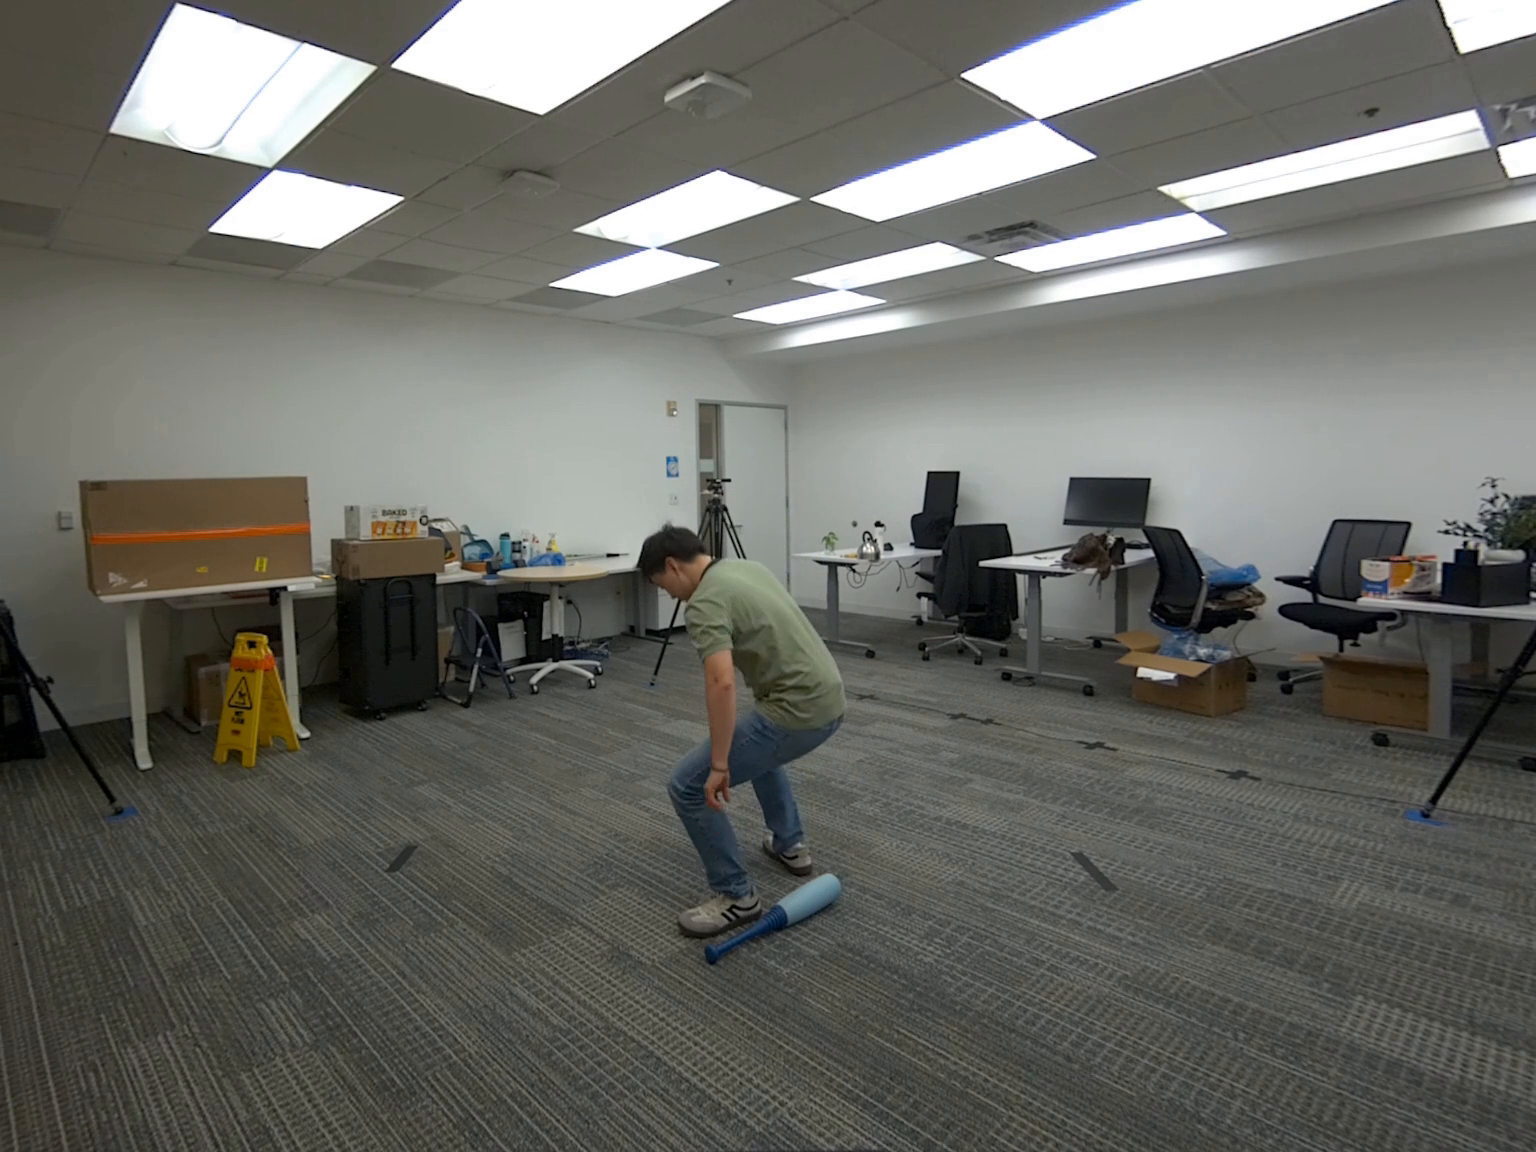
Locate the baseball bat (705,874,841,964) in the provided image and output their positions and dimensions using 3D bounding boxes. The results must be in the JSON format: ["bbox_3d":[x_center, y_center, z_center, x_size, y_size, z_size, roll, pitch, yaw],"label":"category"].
[{"bbox_3d":[0.026,1.065,2.643,0.530,0.088,0.092,-12,11,-42],"label":"baseball bat"}]
